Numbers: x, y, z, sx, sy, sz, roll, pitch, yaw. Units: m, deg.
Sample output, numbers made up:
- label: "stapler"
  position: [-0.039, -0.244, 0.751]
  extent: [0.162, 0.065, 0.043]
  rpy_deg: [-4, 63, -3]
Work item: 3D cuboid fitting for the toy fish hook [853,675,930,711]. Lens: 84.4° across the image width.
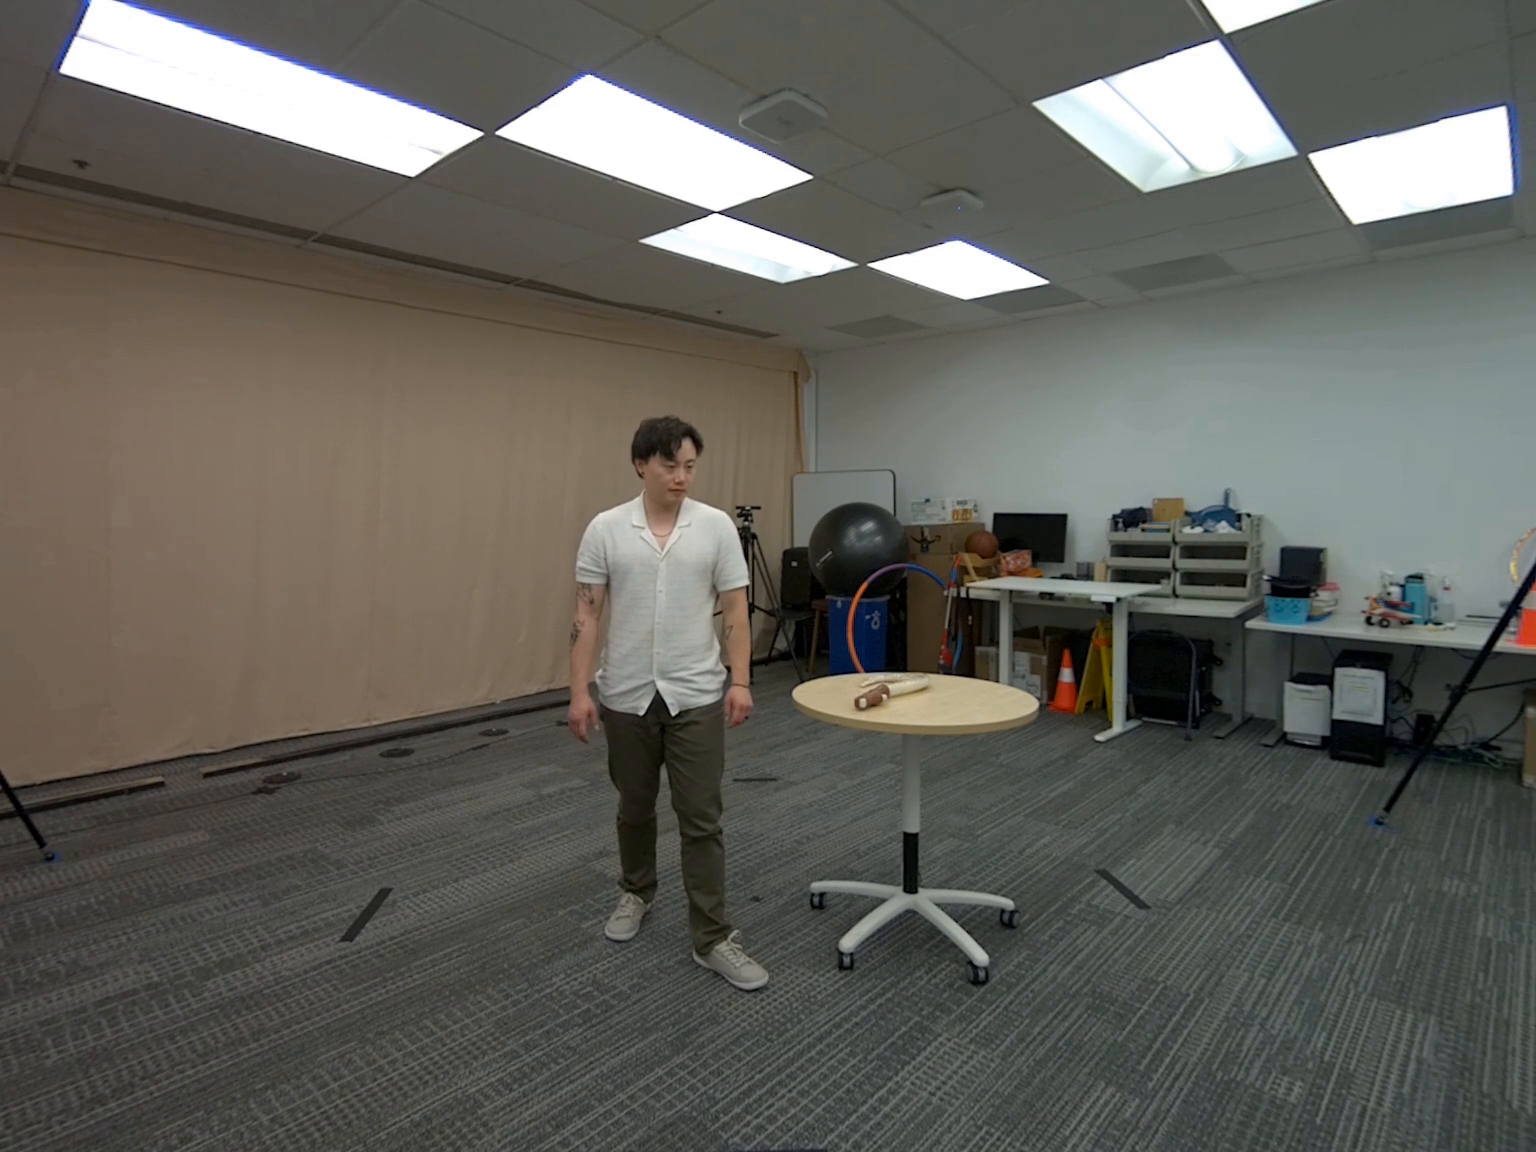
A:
- label: "toy fish hook"
  position: [0.366, 0.373, 2.711]
  extent: [0.231, 0.048, 0.492]
  rpy_deg: [-7, 0, 33]
